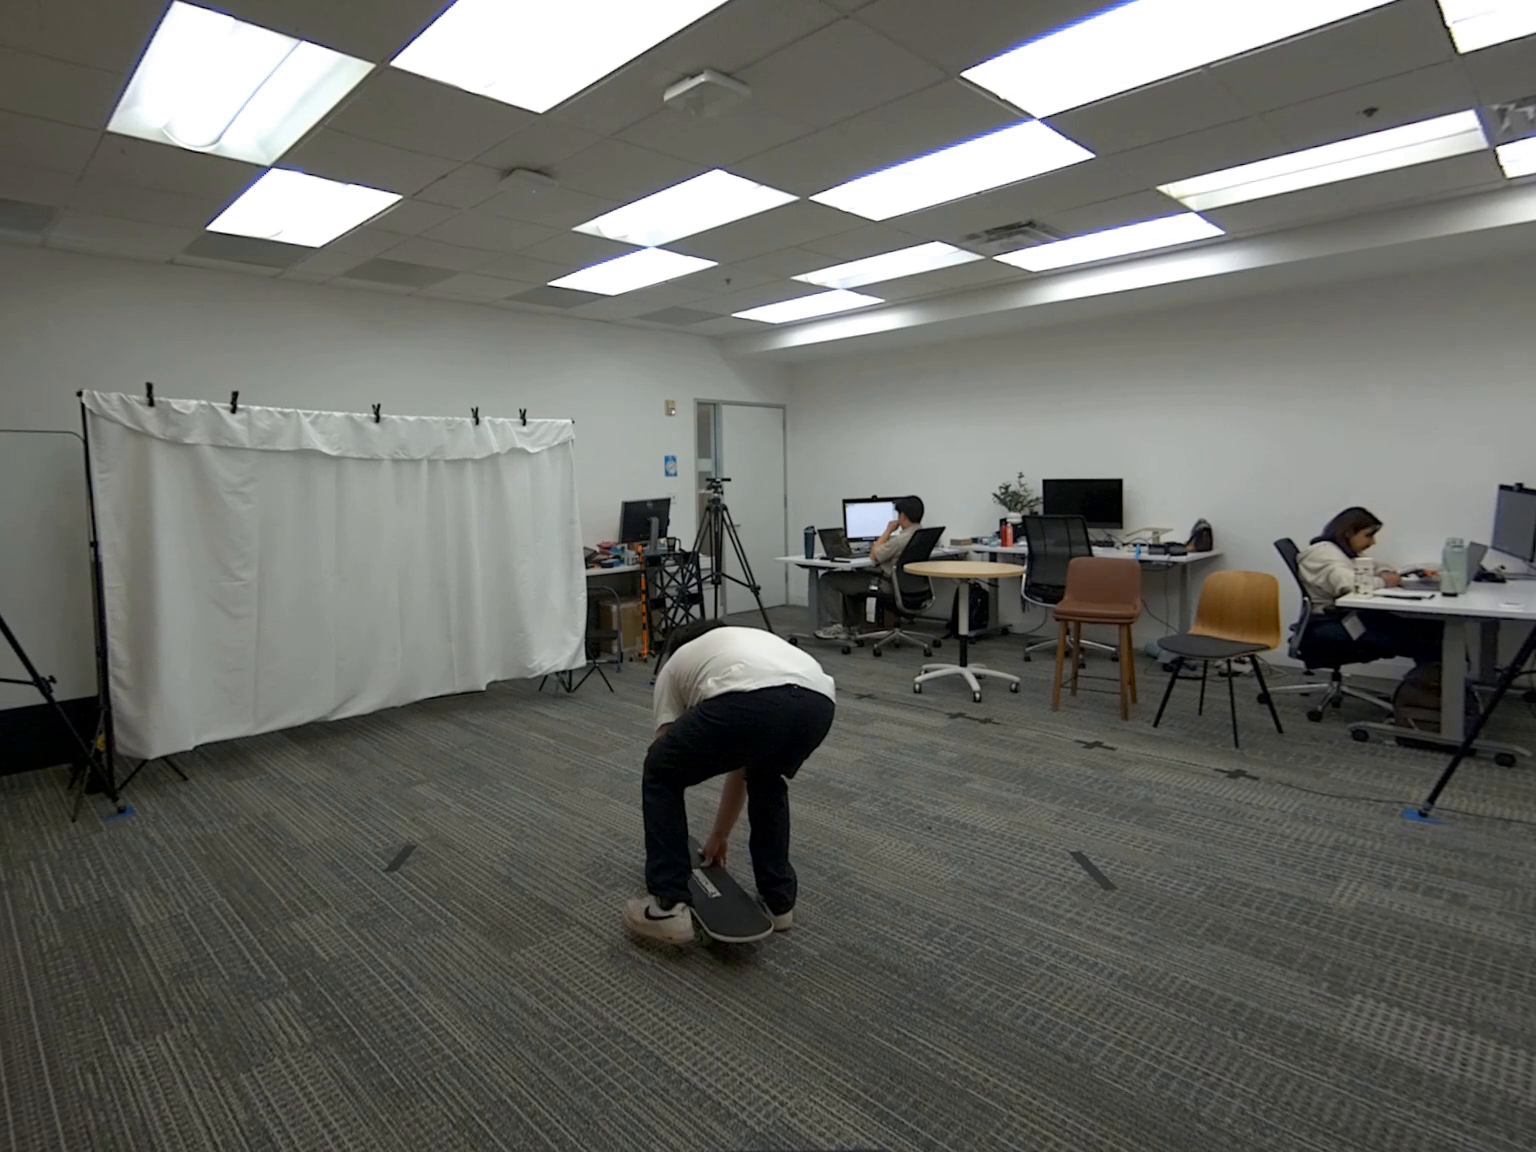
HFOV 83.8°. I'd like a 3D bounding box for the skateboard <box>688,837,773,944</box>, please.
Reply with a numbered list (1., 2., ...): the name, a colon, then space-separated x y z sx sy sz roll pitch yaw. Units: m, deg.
1. skateboard: -0.196 1.033 2.773 0.190 0.110 0.805 -4 7 -24
